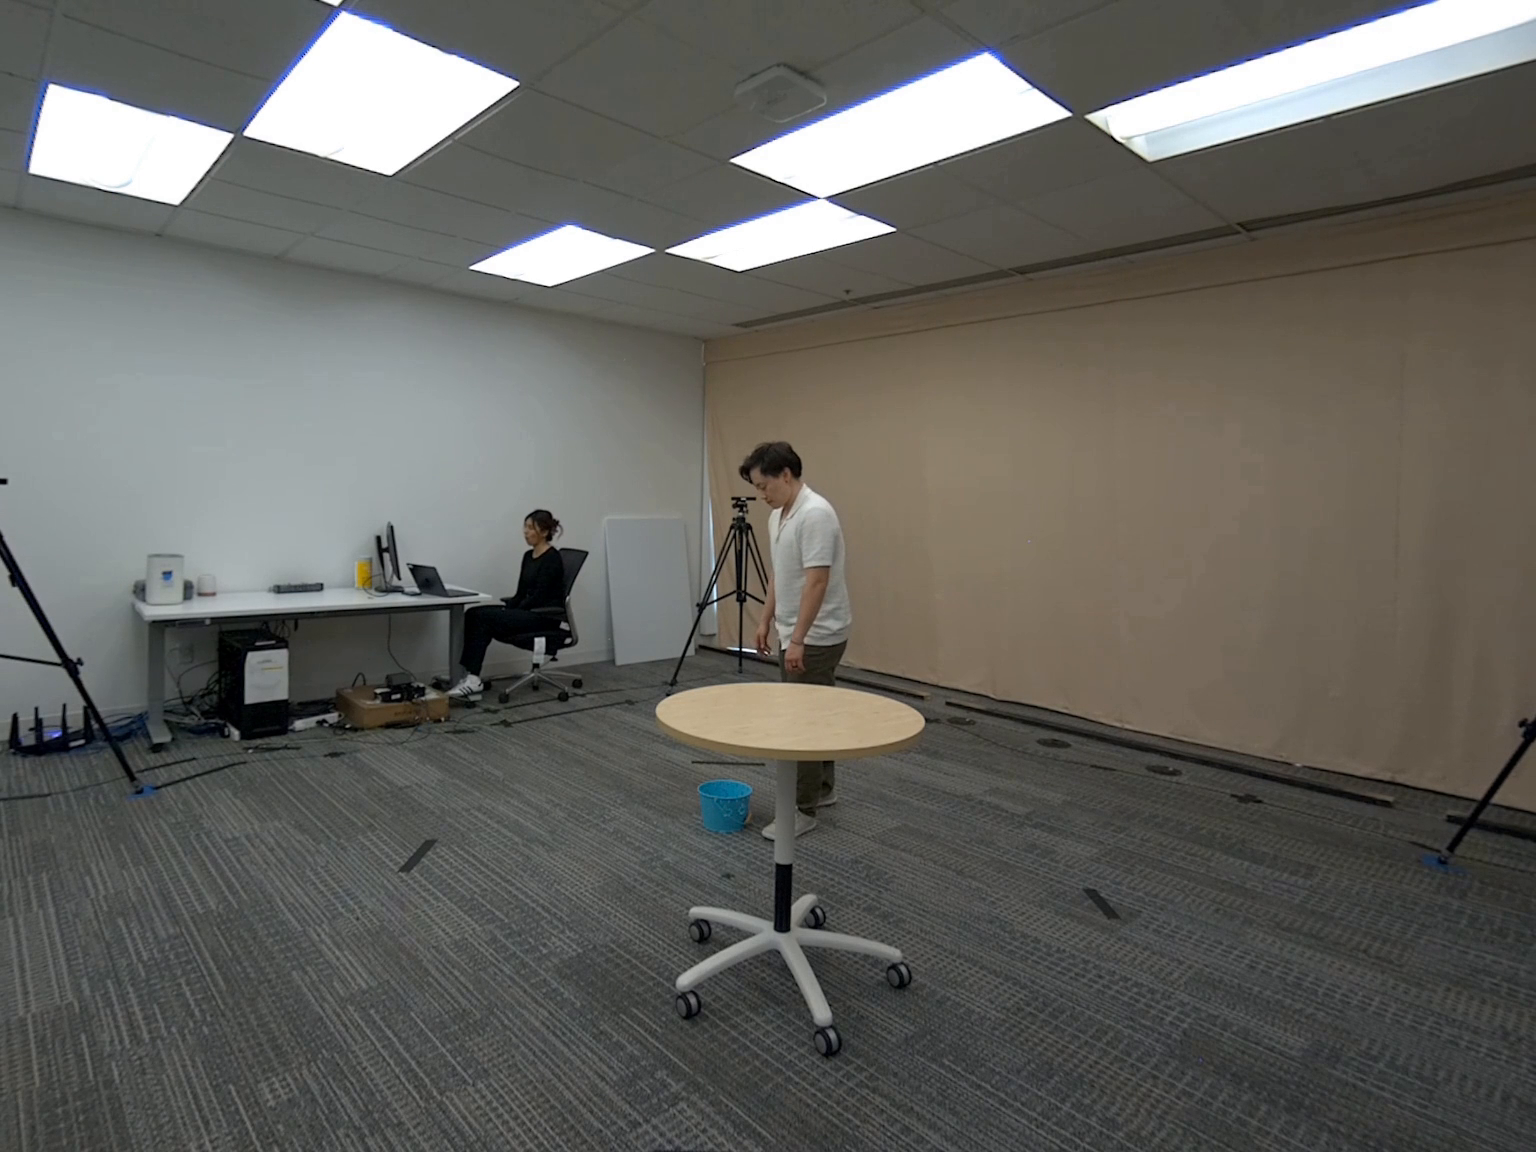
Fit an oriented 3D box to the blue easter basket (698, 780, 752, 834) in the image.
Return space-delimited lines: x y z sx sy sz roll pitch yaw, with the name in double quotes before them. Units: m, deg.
"blue easter basket" -0.197 0.987 3.597 0.243 0.155 0.244 1 4 -1
